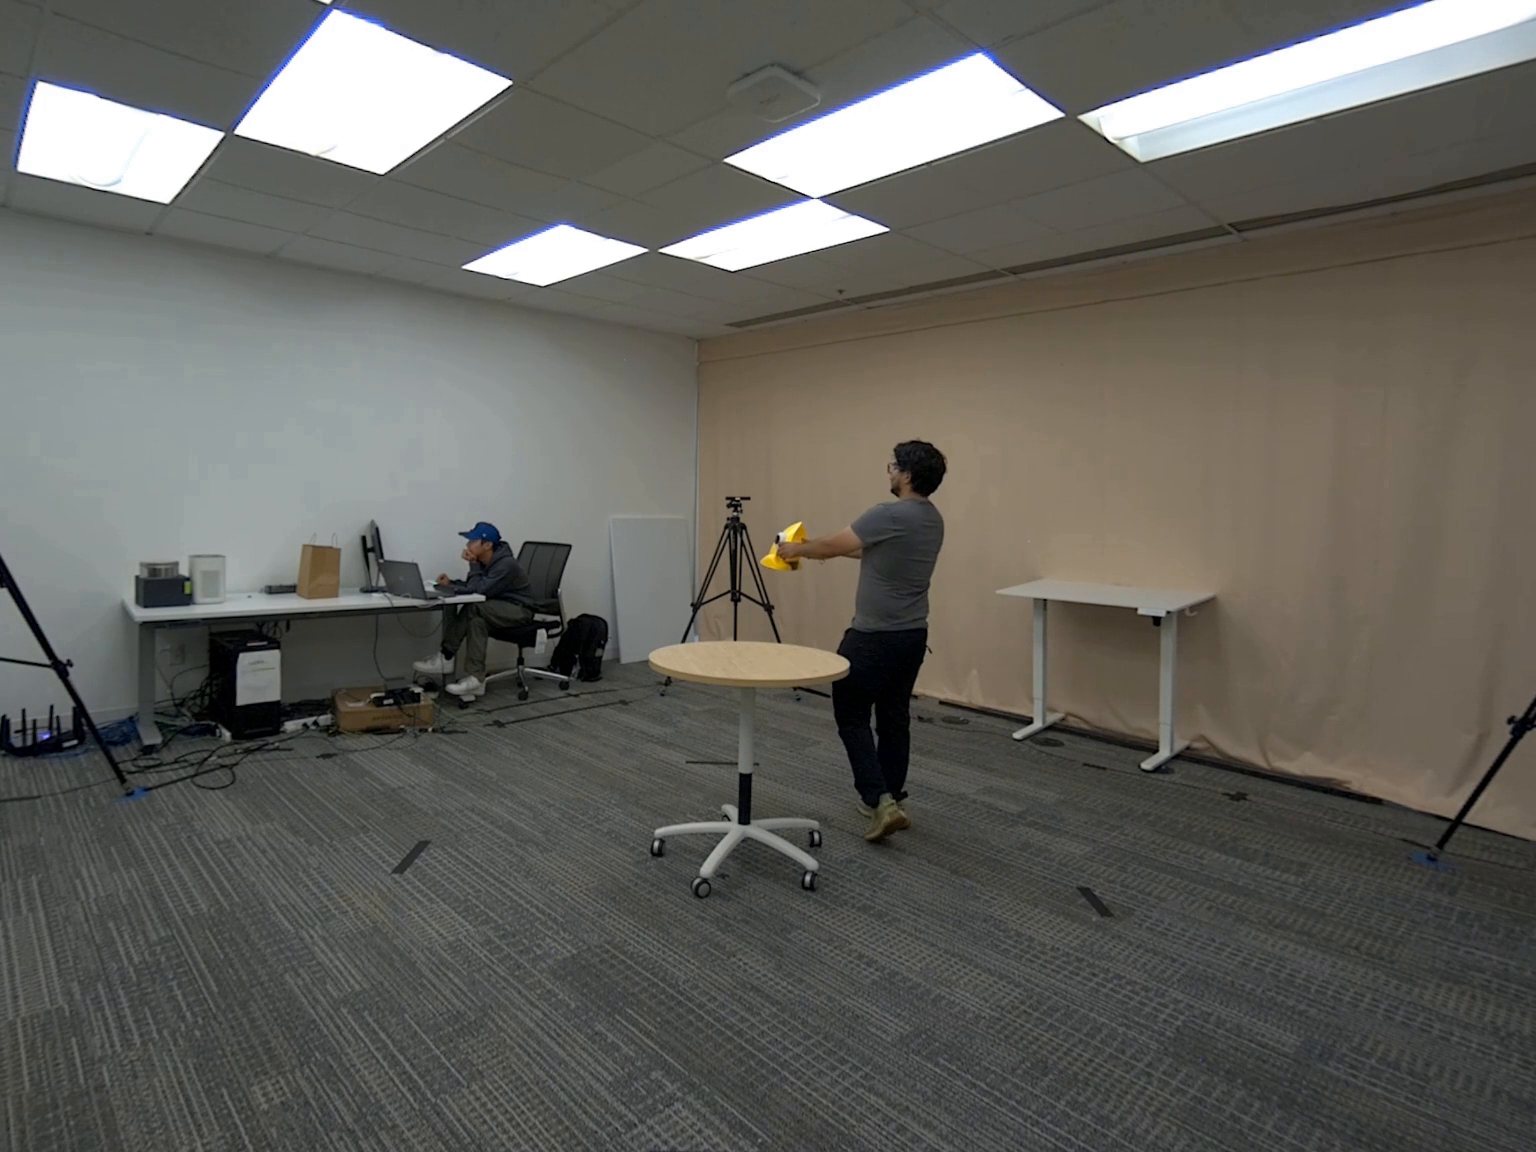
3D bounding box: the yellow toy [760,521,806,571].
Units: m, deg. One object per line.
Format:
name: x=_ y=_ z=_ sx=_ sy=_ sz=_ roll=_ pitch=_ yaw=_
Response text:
yellow toy: x=0.082 y=-0.153 z=3.978 sx=0.198 sy=0.229 sz=0.200 roll=17 pitch=14 yaw=37
